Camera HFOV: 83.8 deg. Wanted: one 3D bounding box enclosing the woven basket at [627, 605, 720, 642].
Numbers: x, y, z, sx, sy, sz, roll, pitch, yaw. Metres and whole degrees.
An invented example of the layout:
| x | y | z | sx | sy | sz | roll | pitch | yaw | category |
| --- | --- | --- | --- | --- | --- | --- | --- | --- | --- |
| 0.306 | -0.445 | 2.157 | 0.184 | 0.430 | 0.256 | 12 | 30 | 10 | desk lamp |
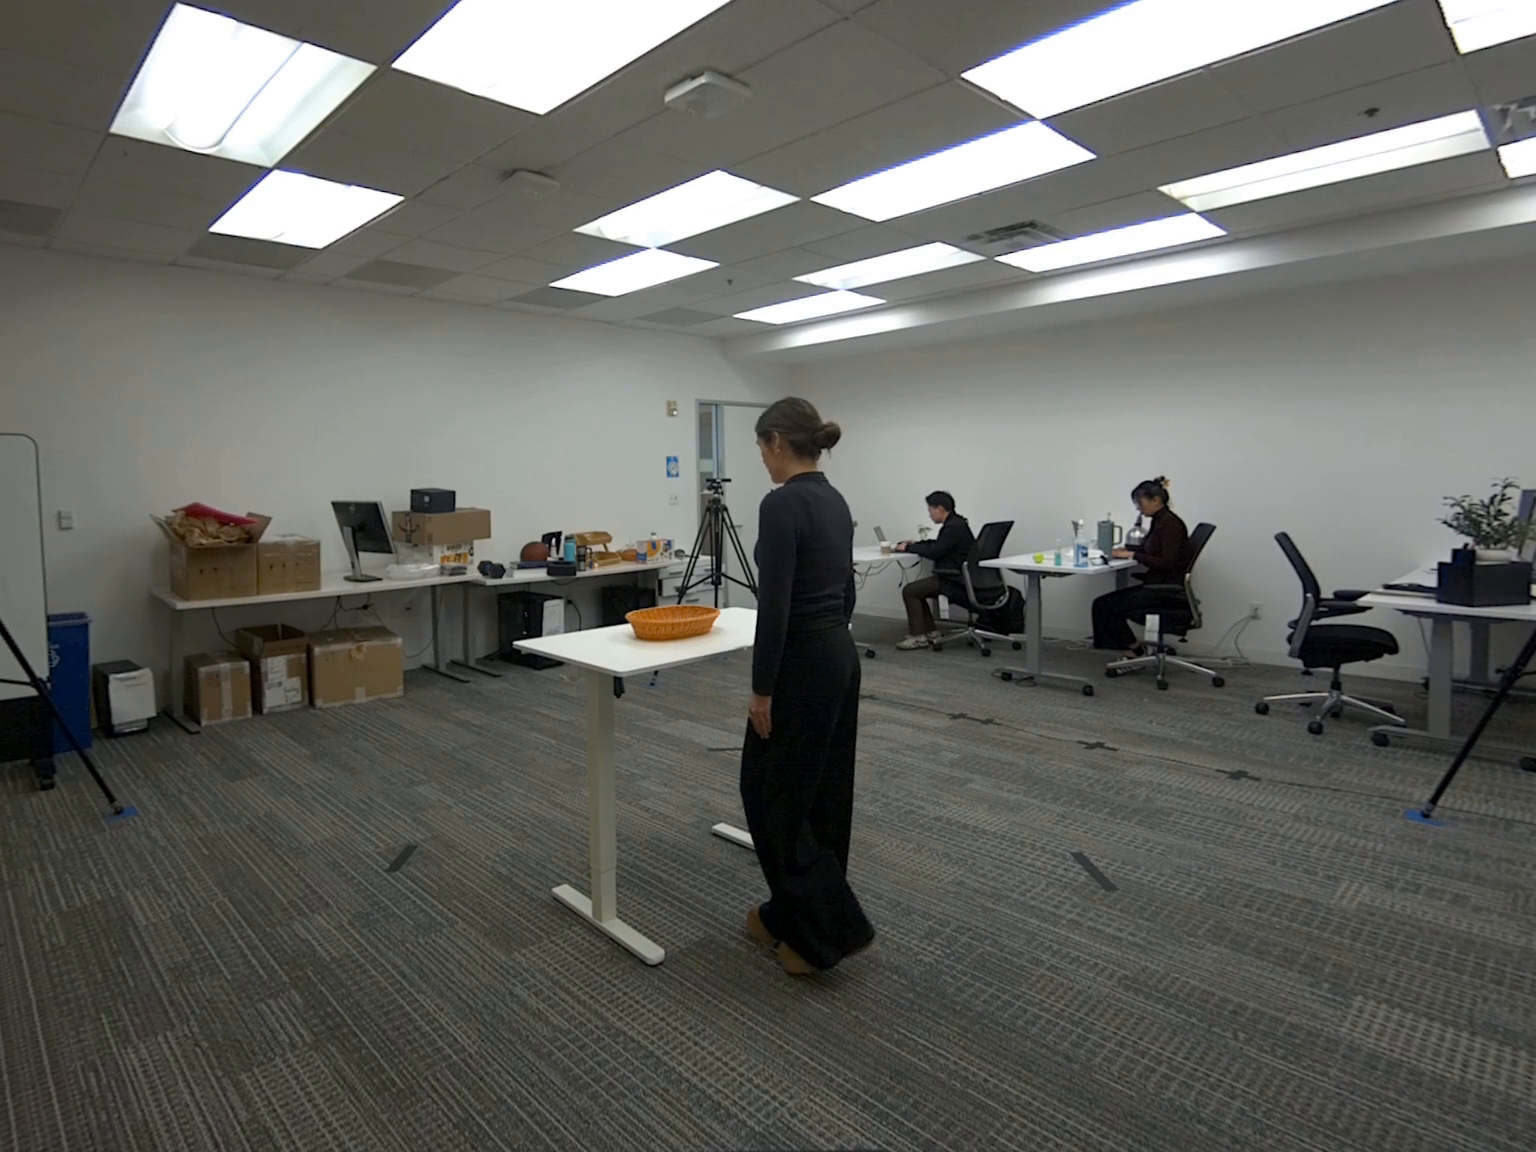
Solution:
| x | y | z | sx | sy | sz | roll | pitch | yaw | category |
| --- | --- | --- | --- | --- | --- | --- | --- | --- | --- |
| -0.315 | 0.167 | 2.863 | 0.260 | 0.073 | 0.341 | 6 | 9 | 44 | woven basket |
